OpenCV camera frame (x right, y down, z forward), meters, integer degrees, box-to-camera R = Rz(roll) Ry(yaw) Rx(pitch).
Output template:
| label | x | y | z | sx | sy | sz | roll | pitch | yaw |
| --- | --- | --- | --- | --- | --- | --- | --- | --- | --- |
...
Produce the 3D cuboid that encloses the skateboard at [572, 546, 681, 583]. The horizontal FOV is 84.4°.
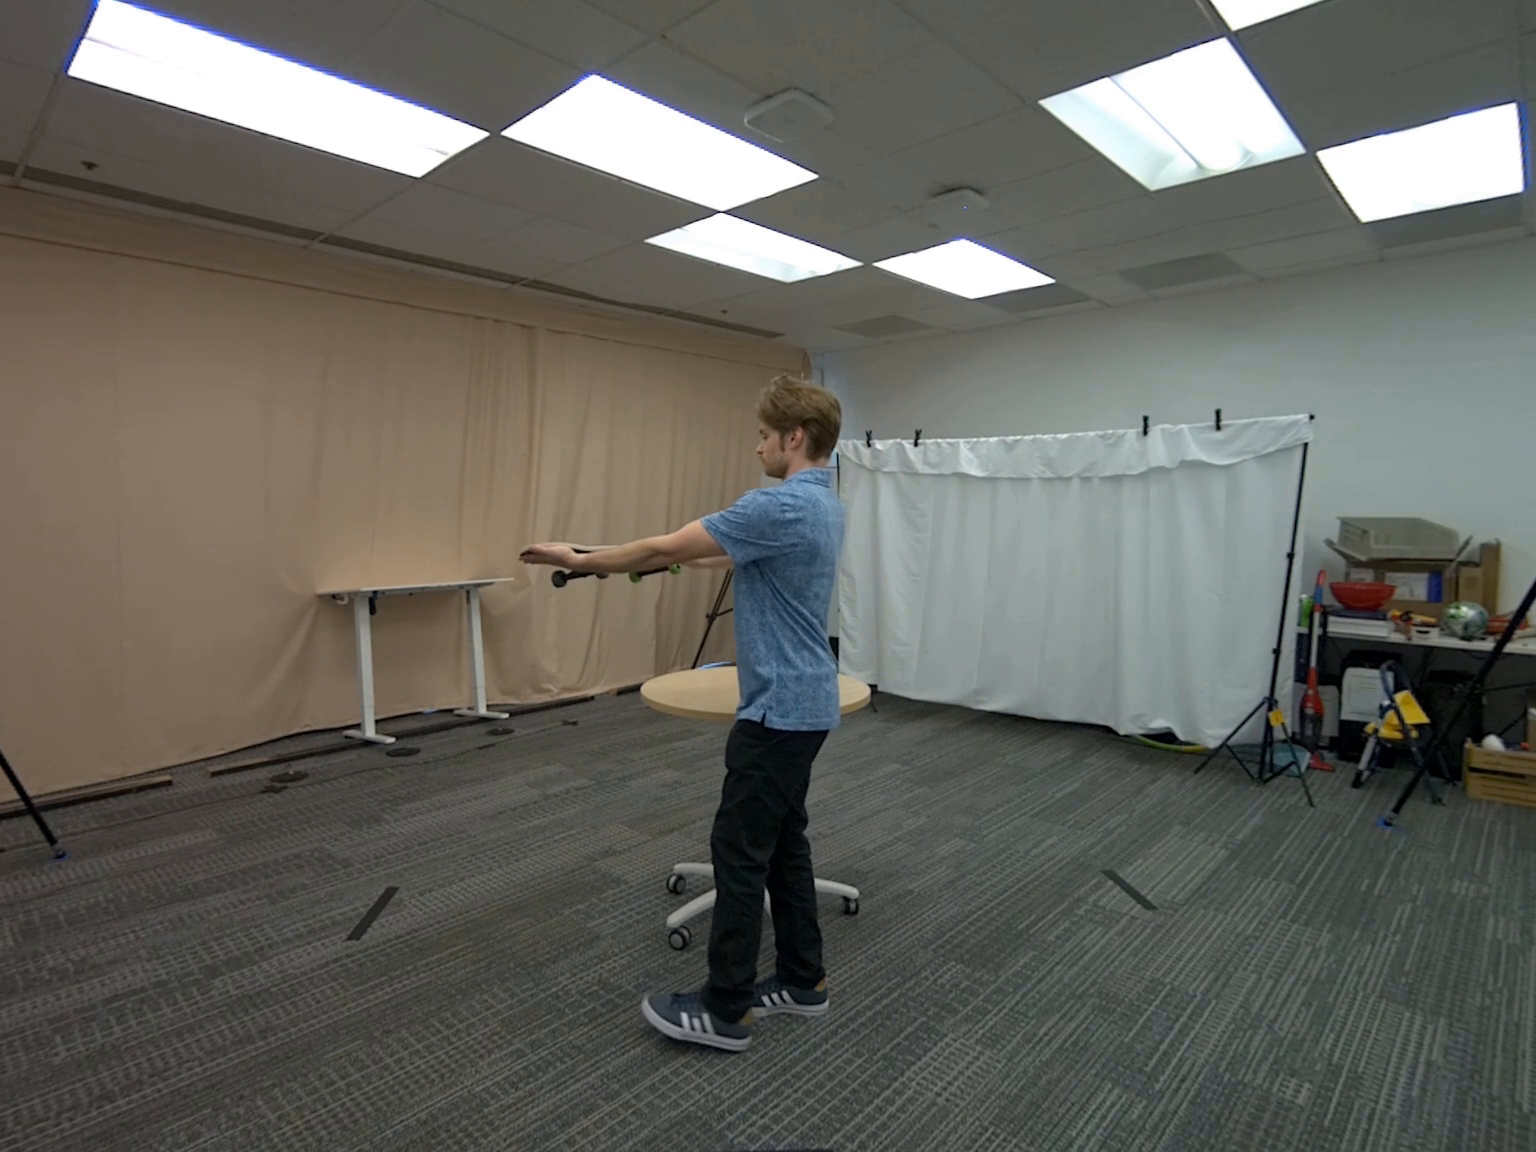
| label | x | y | z | sx | sy | sz | roll | pitch | yaw |
| --- | --- | --- | --- | --- | --- | --- | --- | --- | --- |
| skateboard | -0.450 | -0.038 | 2.559 | 0.197 | 0.111 | 0.766 | -13 | -4 | 25 |
